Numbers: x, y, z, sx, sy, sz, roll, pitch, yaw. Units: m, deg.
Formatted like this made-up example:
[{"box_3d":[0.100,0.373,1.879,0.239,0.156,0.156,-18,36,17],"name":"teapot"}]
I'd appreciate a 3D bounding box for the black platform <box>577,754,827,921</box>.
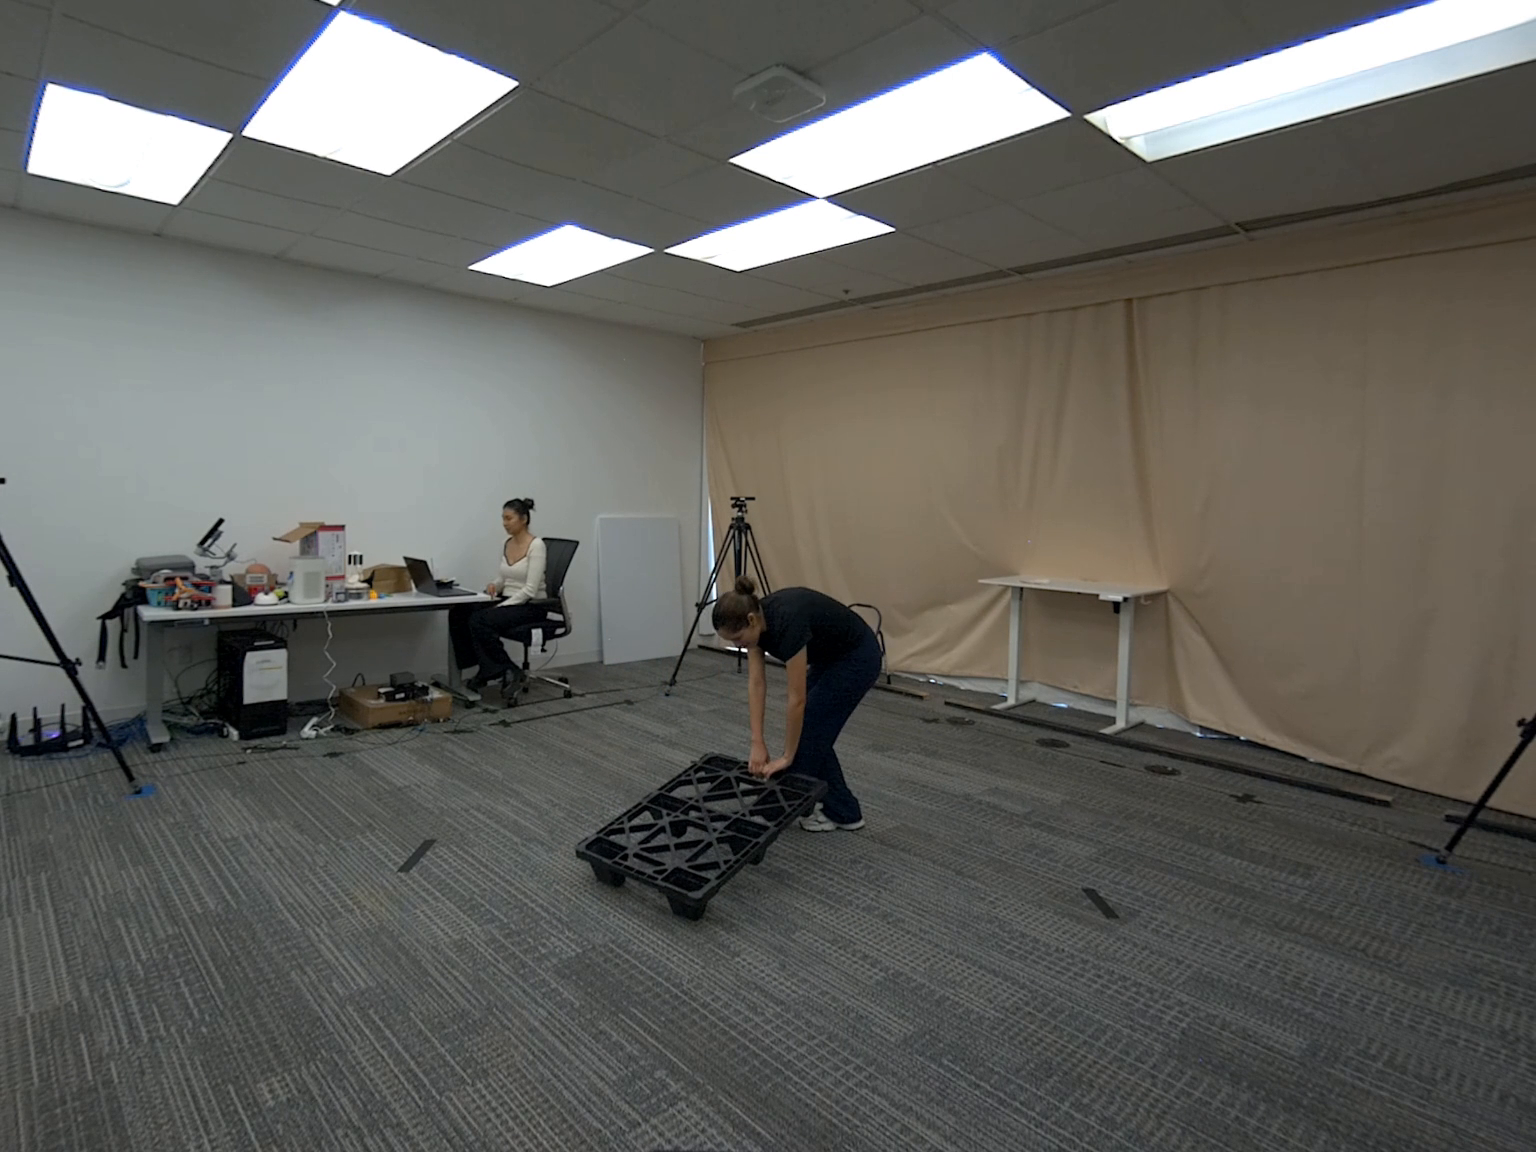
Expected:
[{"box_3d":[-0.223,0.956,3.151,0.620,0.141,0.795,5,20,36],"name":"black platform"}]
